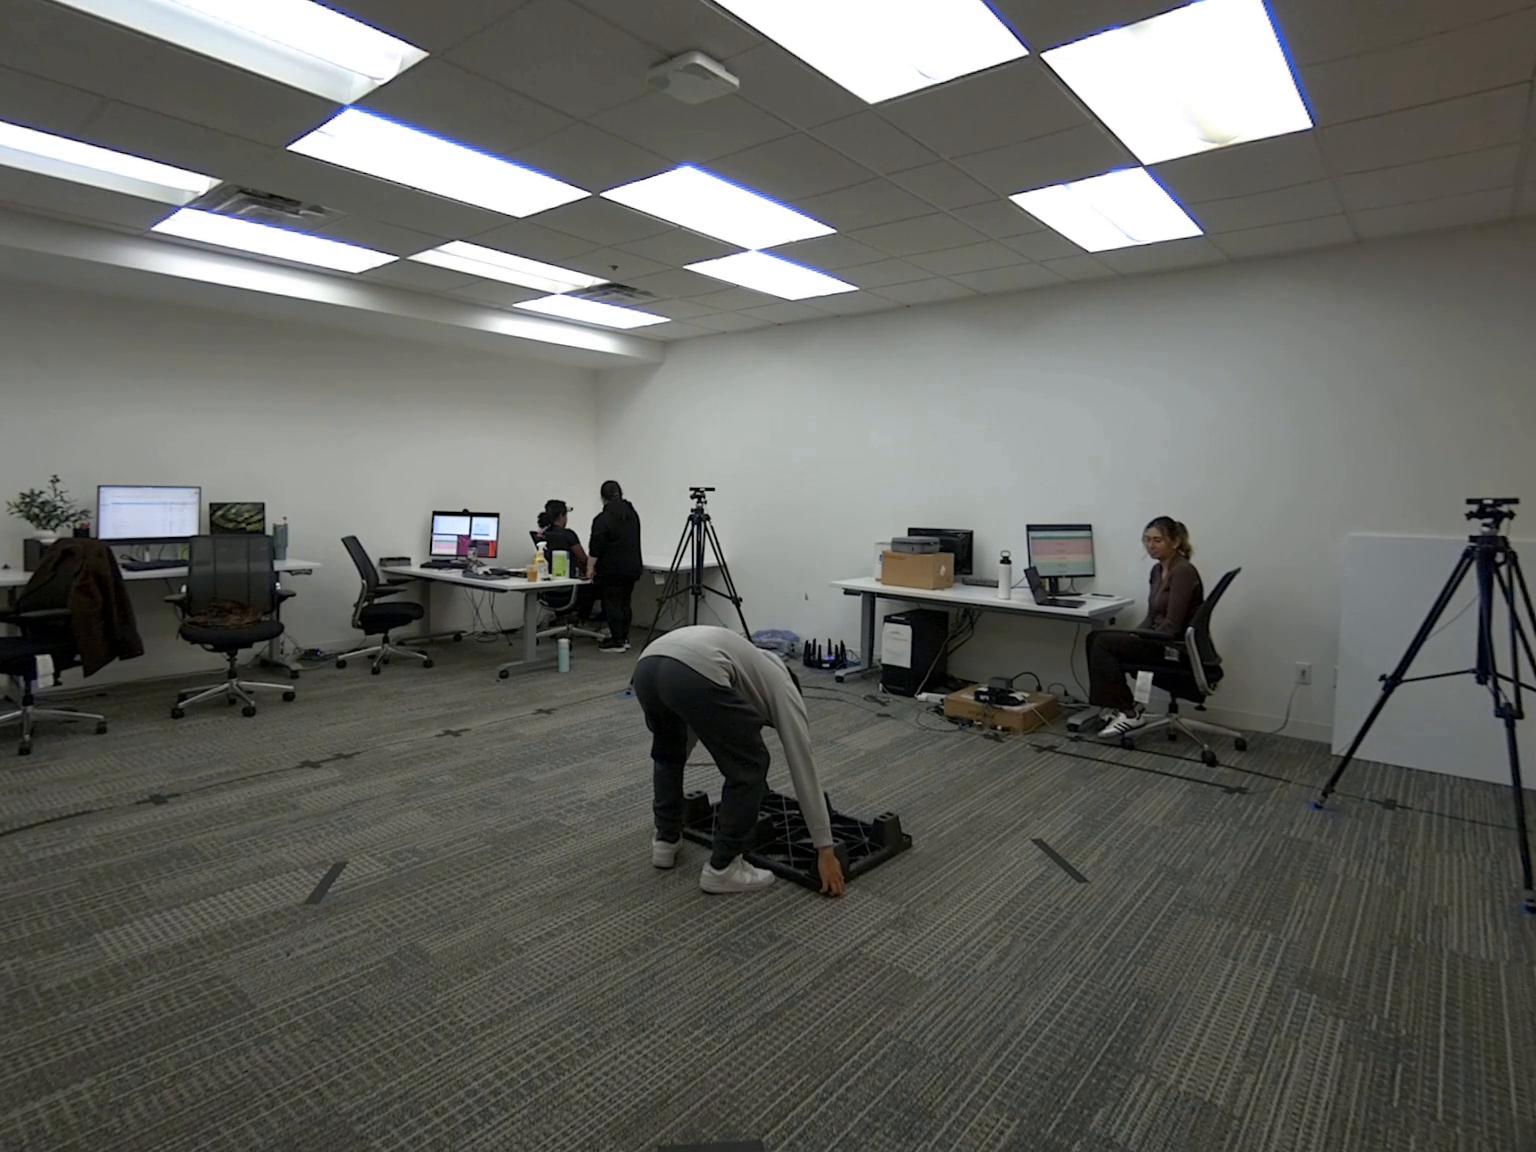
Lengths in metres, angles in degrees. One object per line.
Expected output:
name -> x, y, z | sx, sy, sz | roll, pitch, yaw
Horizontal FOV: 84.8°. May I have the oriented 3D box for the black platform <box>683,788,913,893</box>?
black platform -> 0.063, 0.978, 3.404 | 0.833, 0.143, 0.587 | 6, 6, 41
